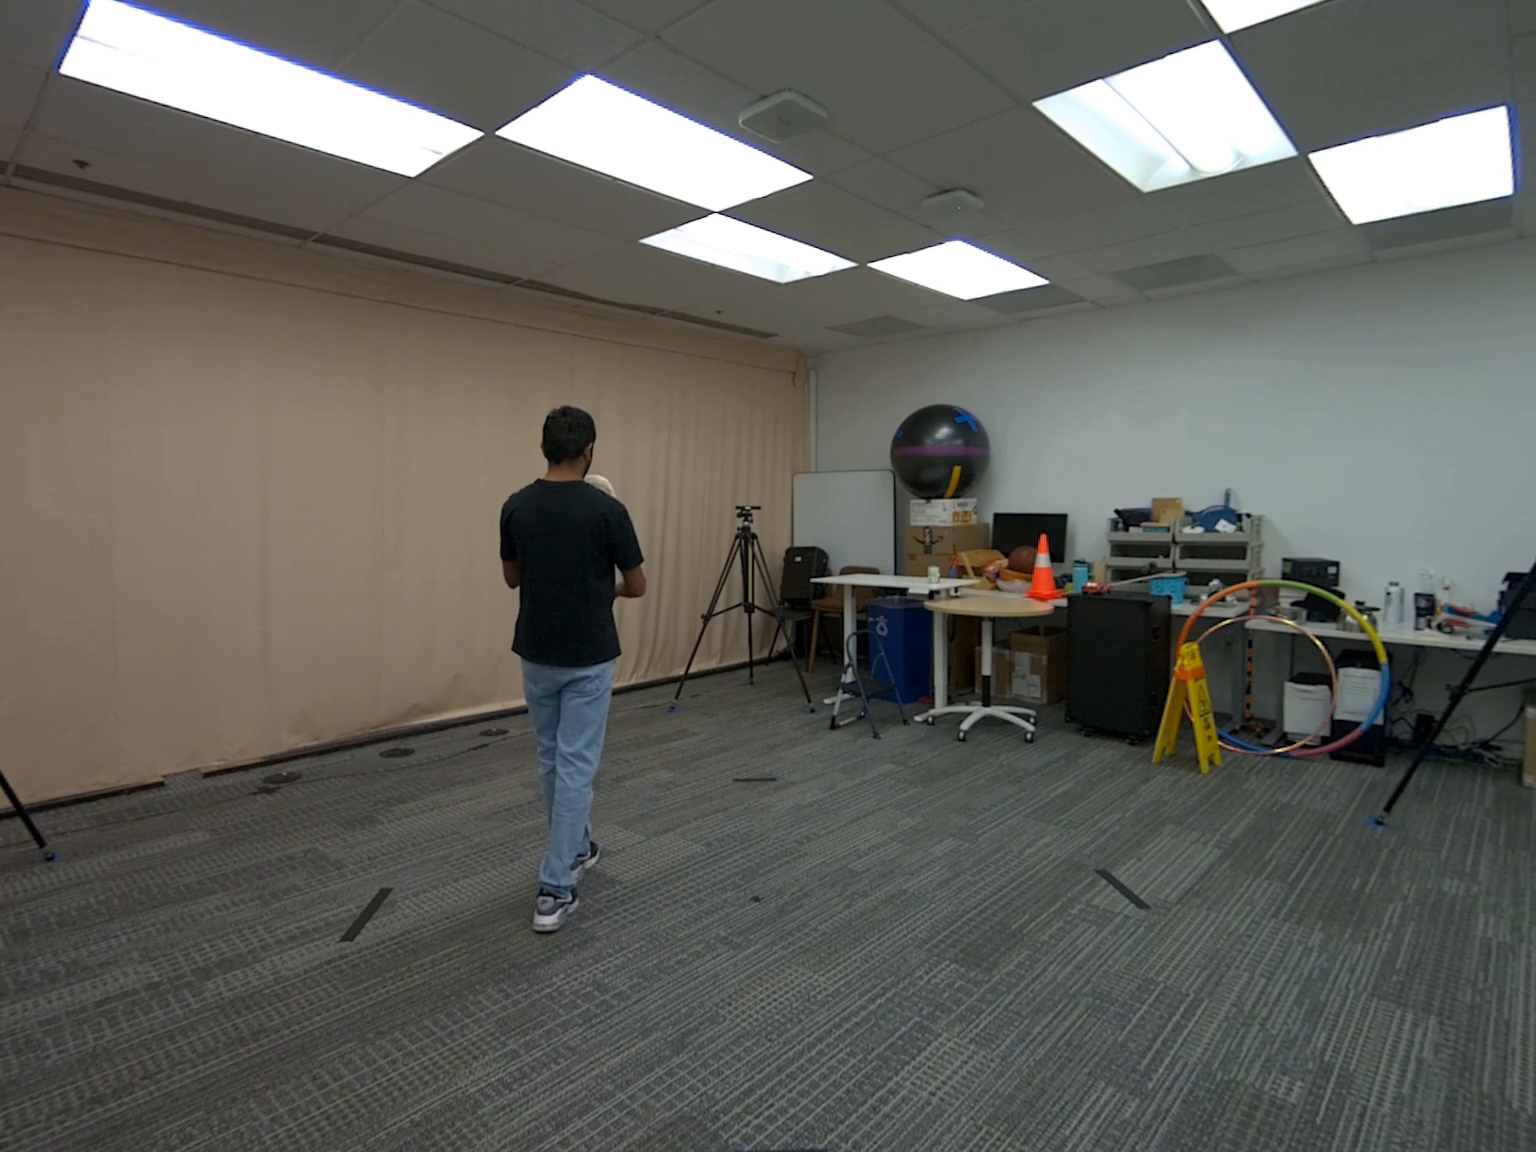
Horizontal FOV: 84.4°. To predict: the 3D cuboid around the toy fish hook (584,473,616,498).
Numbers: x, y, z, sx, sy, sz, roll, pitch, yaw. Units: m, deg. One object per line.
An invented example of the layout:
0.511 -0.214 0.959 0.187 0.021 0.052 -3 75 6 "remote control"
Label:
-0.711 -0.133 3.296 0.227 0.507 0.047 -2 -3 12 "toy fish hook"
